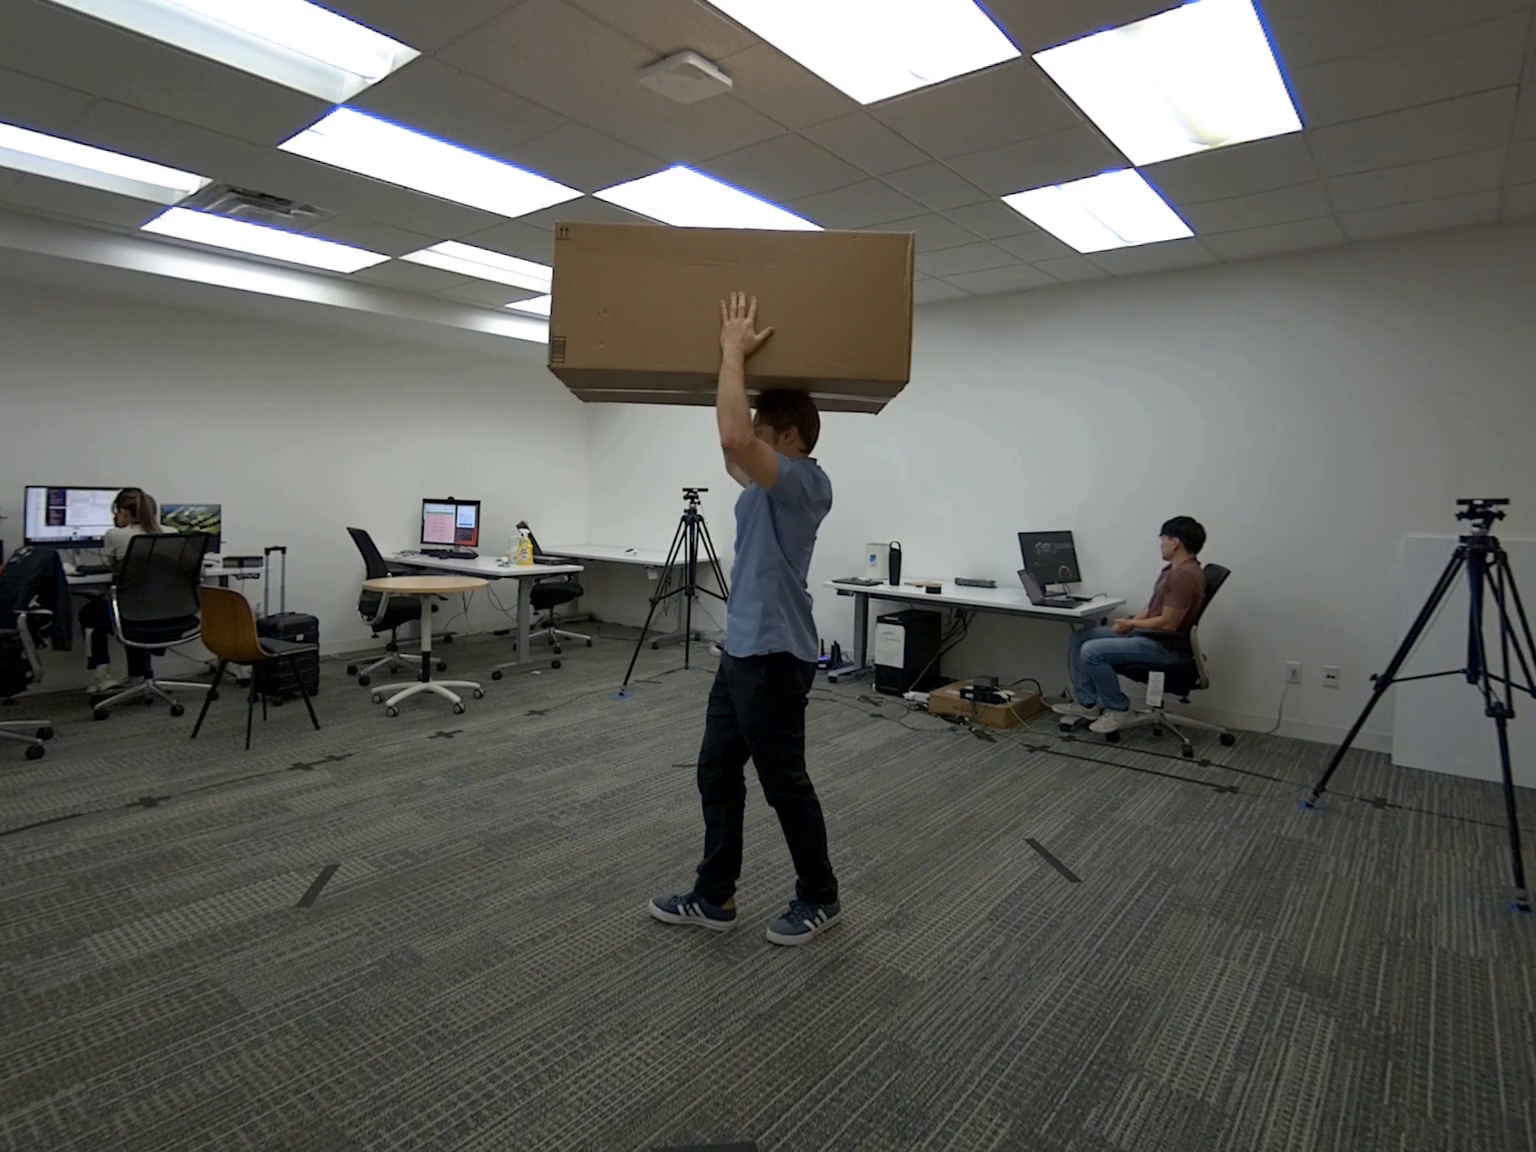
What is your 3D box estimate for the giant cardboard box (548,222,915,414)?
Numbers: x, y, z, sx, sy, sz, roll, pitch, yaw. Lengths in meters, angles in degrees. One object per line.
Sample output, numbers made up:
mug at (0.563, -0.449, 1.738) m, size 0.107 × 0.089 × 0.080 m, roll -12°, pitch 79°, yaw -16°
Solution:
giant cardboard box at (-0.123, -0.788, 2.665) m, size 1.028 × 0.426 × 0.576 m, roll 3°, pitch 0°, yaw 1°
